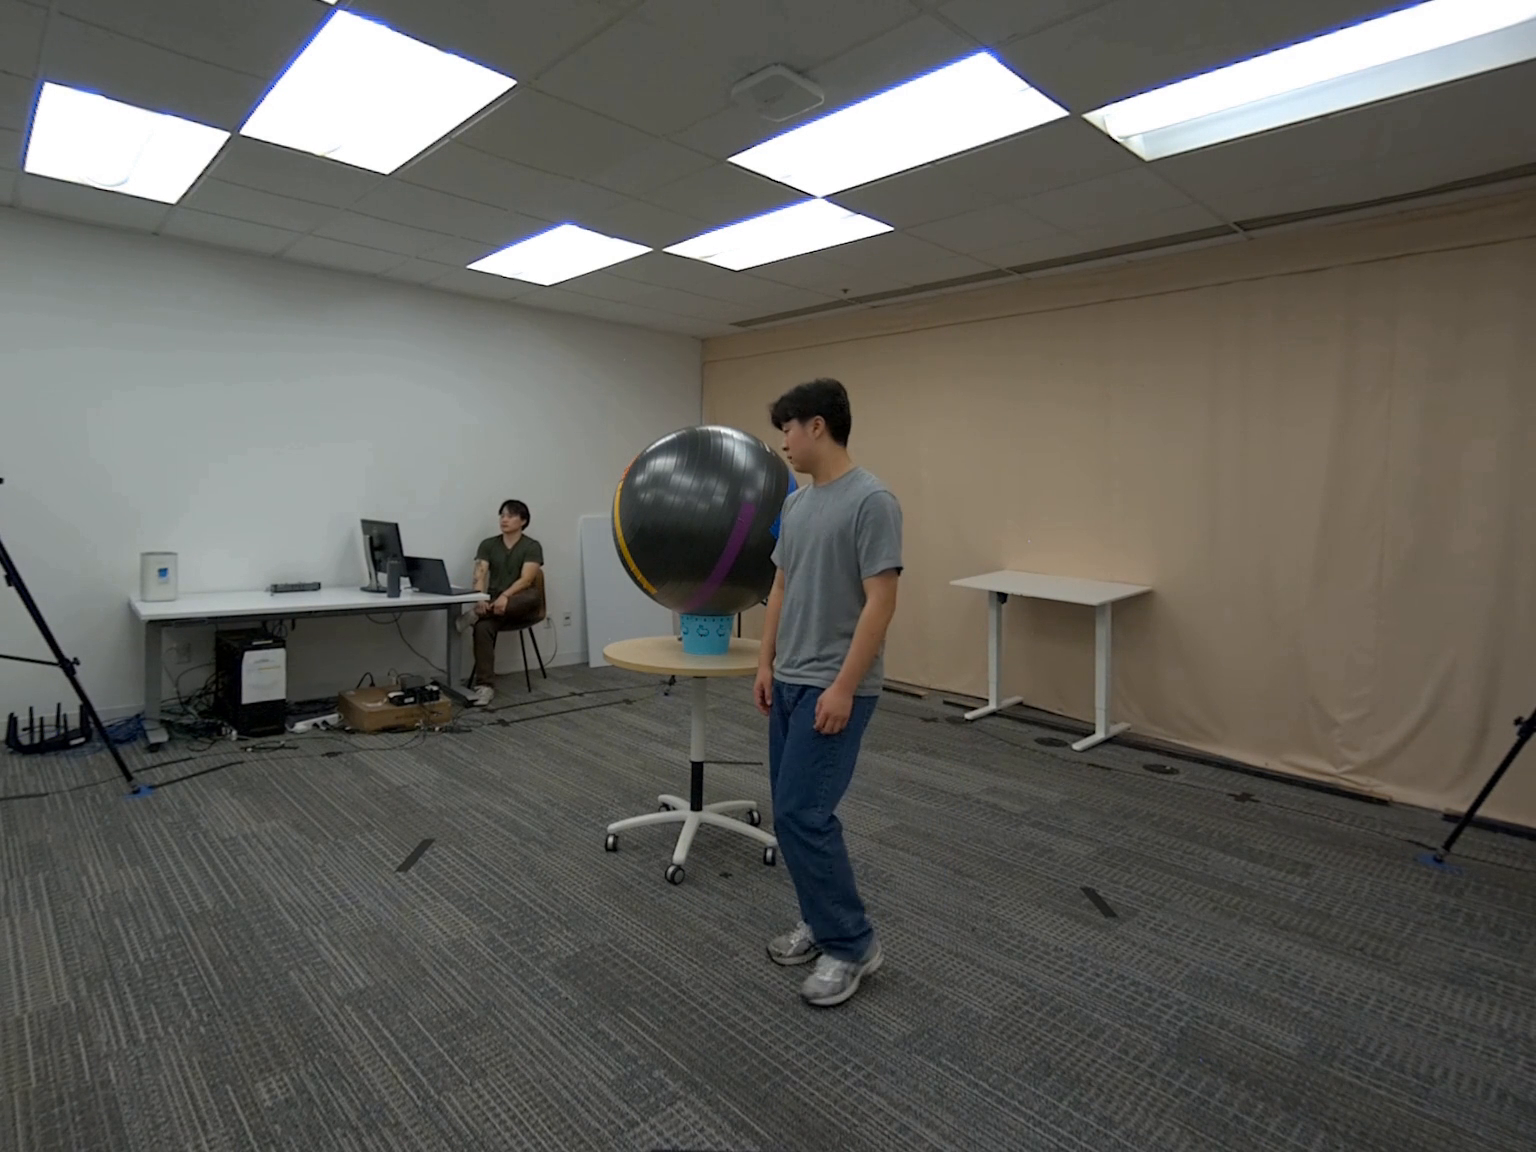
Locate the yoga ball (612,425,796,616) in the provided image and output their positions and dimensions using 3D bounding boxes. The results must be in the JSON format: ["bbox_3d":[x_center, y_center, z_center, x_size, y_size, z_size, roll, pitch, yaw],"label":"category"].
[{"bbox_3d":[-0.241,-0.215,3.329,0.757,0.756,0.761,1,4,-1],"label":"yoga ball"}]
